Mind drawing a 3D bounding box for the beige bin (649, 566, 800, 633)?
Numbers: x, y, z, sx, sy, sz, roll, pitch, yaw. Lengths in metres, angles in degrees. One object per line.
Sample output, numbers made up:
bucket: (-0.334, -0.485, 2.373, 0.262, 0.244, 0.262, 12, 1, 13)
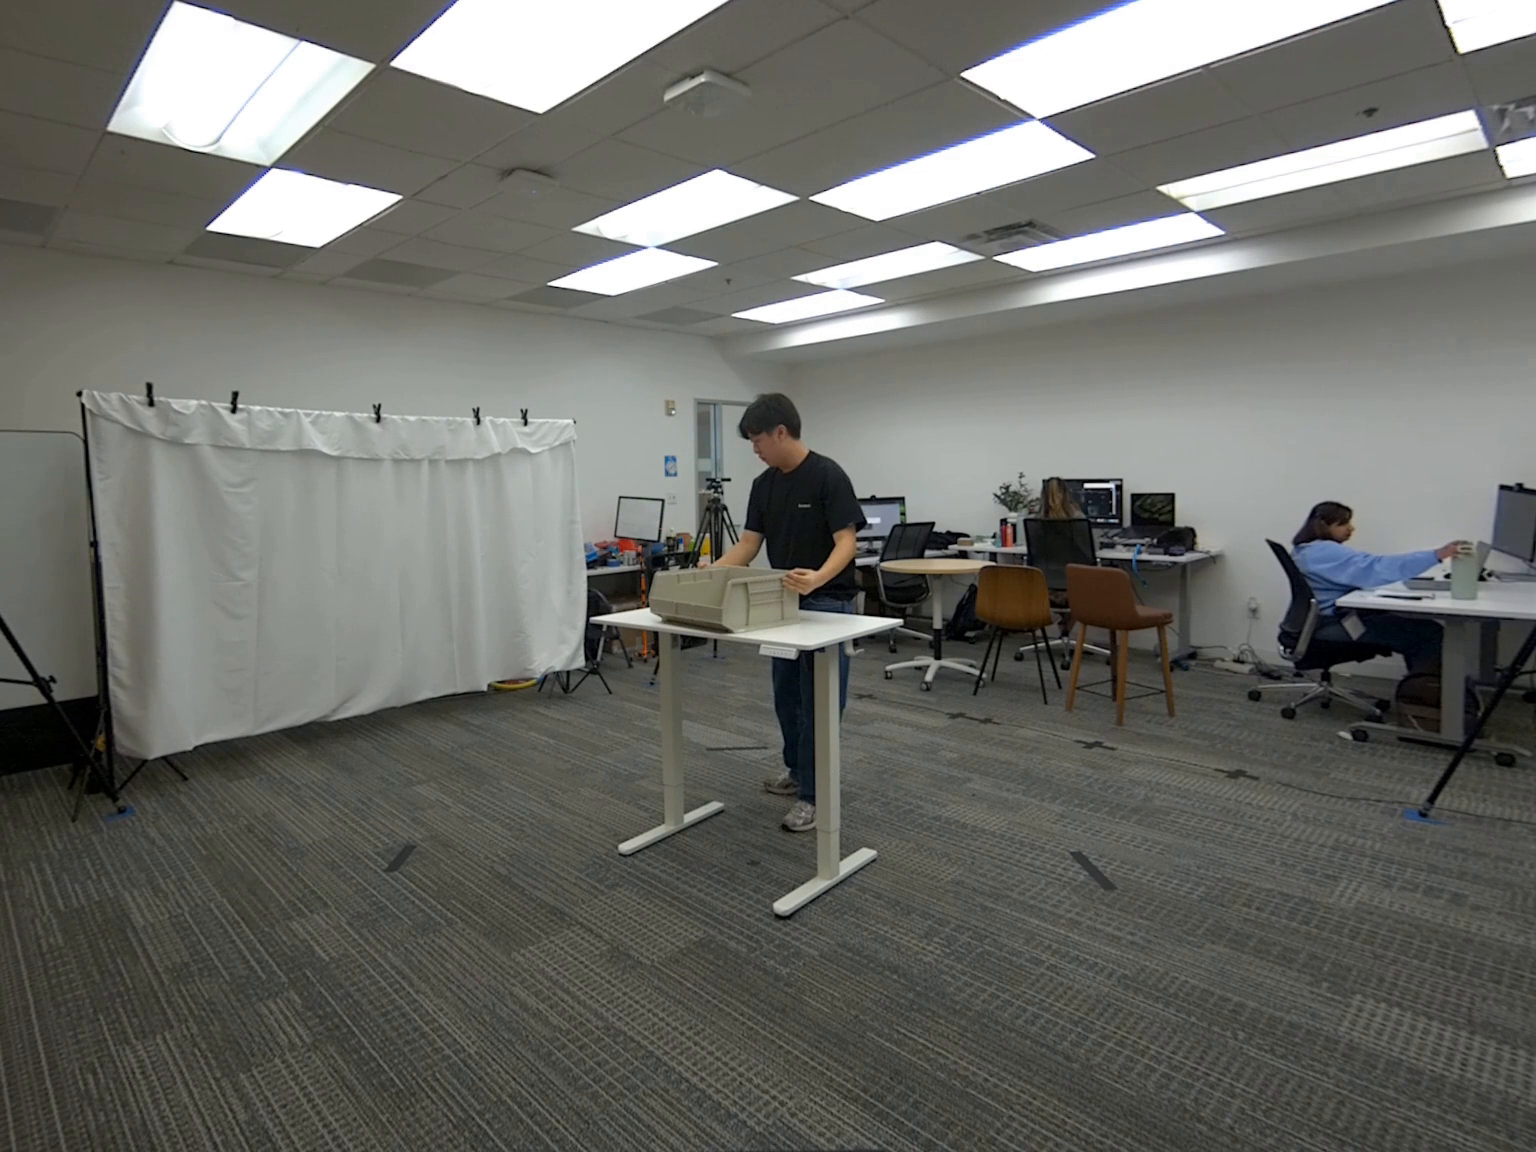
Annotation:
beige bin: (-0.158, 0.078, 3.038, 0.367, 0.188, 0.435, -4, 7, -40)
